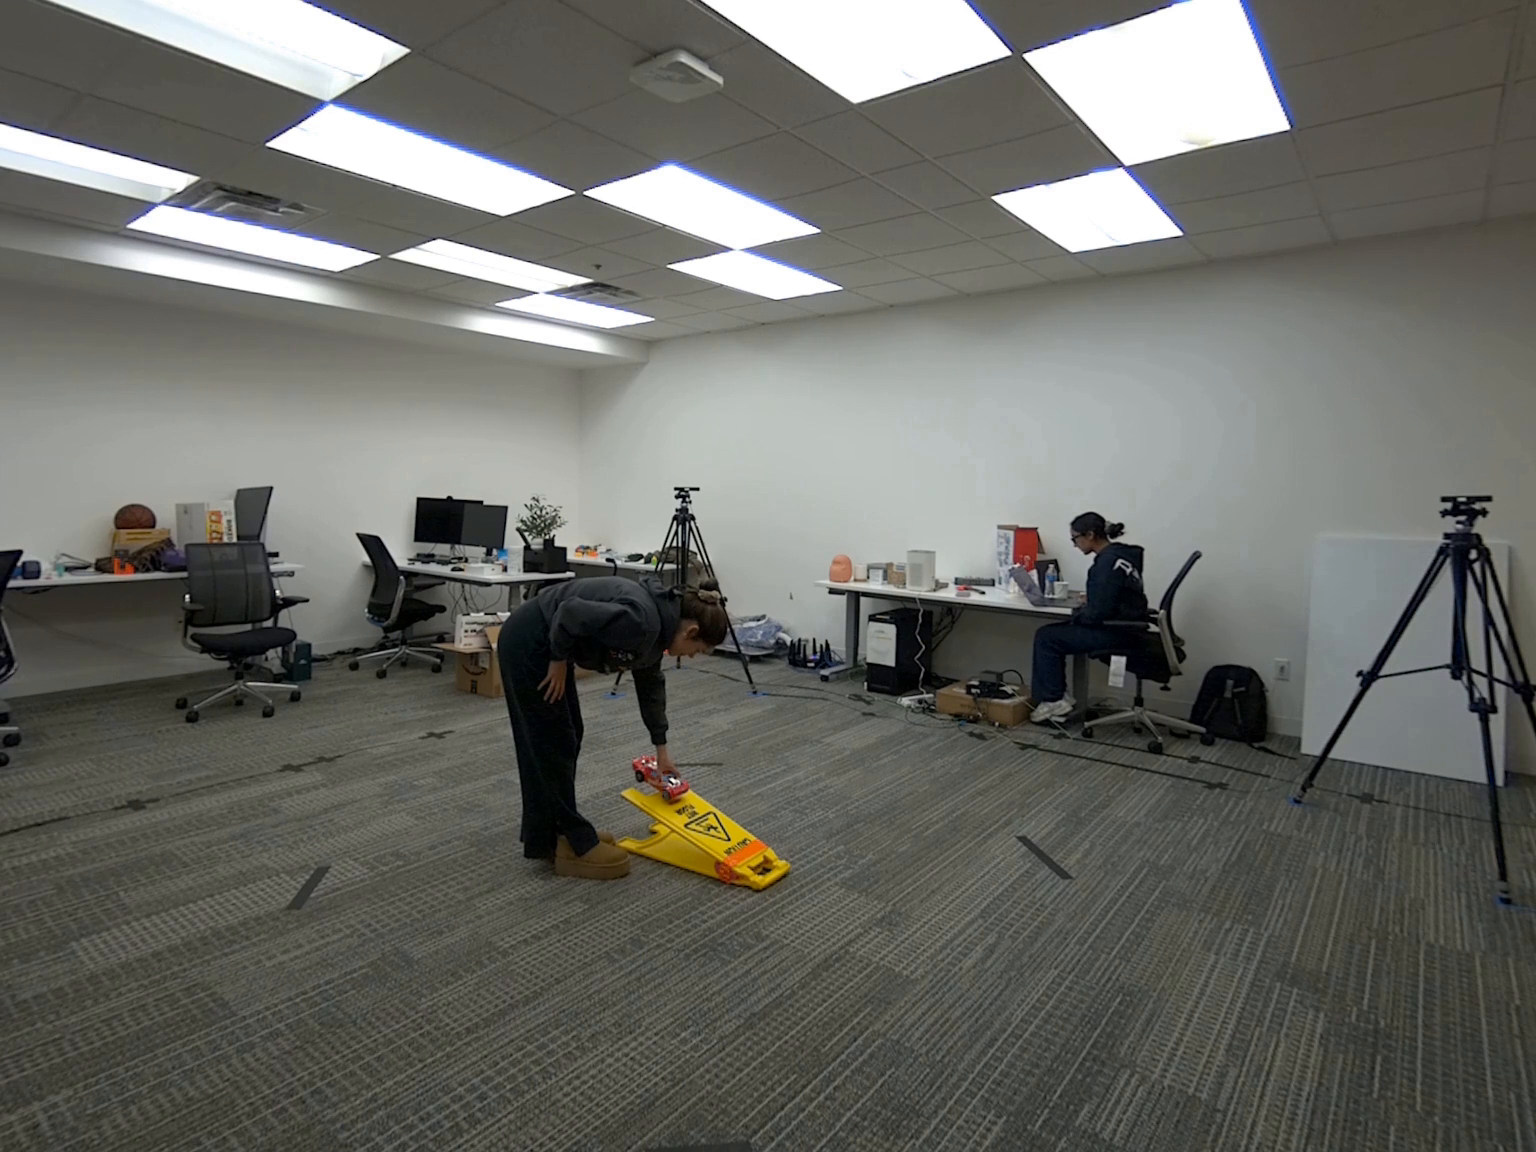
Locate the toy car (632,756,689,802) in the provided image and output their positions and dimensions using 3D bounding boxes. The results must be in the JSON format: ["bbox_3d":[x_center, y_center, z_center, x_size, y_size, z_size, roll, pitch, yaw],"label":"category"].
[{"bbox_3d":[-0.433,0.793,3.328,0.265,0.082,0.127,37,28,32],"label":"toy car"}]
